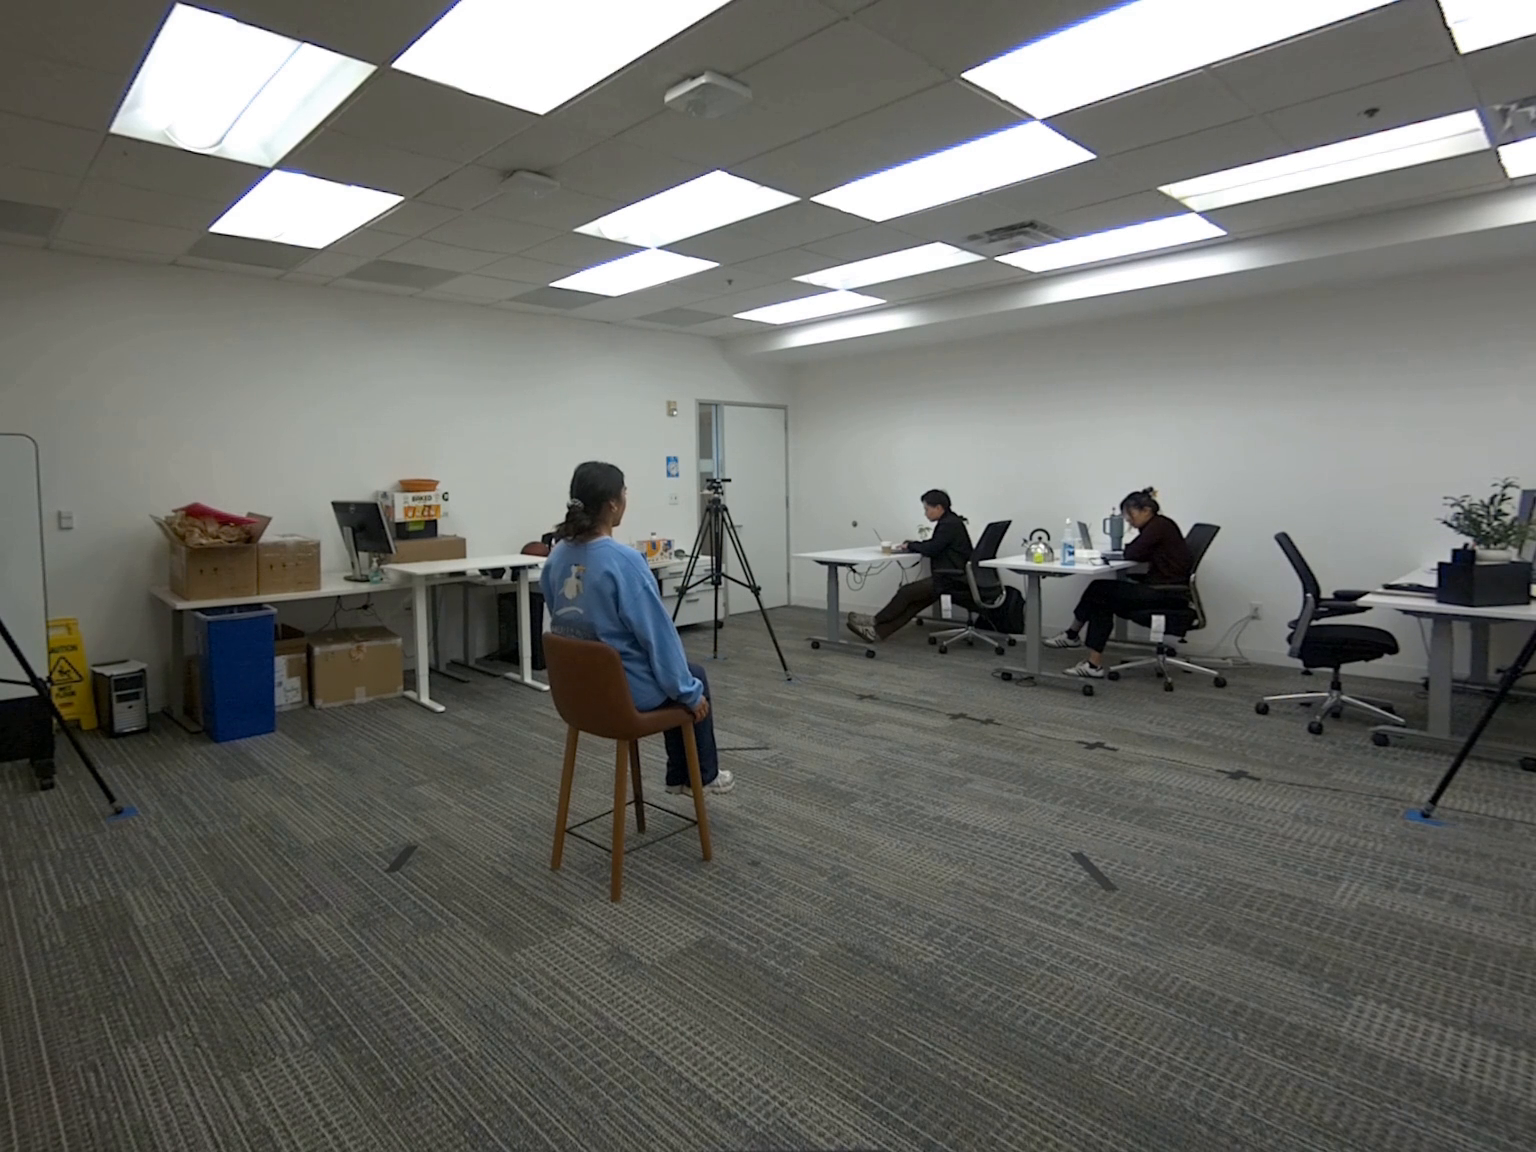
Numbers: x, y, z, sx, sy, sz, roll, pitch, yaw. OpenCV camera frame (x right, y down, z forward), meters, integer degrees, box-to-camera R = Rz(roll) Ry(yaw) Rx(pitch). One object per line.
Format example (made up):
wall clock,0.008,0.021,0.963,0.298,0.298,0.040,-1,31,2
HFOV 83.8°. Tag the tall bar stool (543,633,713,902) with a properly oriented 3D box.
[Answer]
tall bar stool,-0.520,0.620,3.088,0.470,0.885,0.456,2,7,43
